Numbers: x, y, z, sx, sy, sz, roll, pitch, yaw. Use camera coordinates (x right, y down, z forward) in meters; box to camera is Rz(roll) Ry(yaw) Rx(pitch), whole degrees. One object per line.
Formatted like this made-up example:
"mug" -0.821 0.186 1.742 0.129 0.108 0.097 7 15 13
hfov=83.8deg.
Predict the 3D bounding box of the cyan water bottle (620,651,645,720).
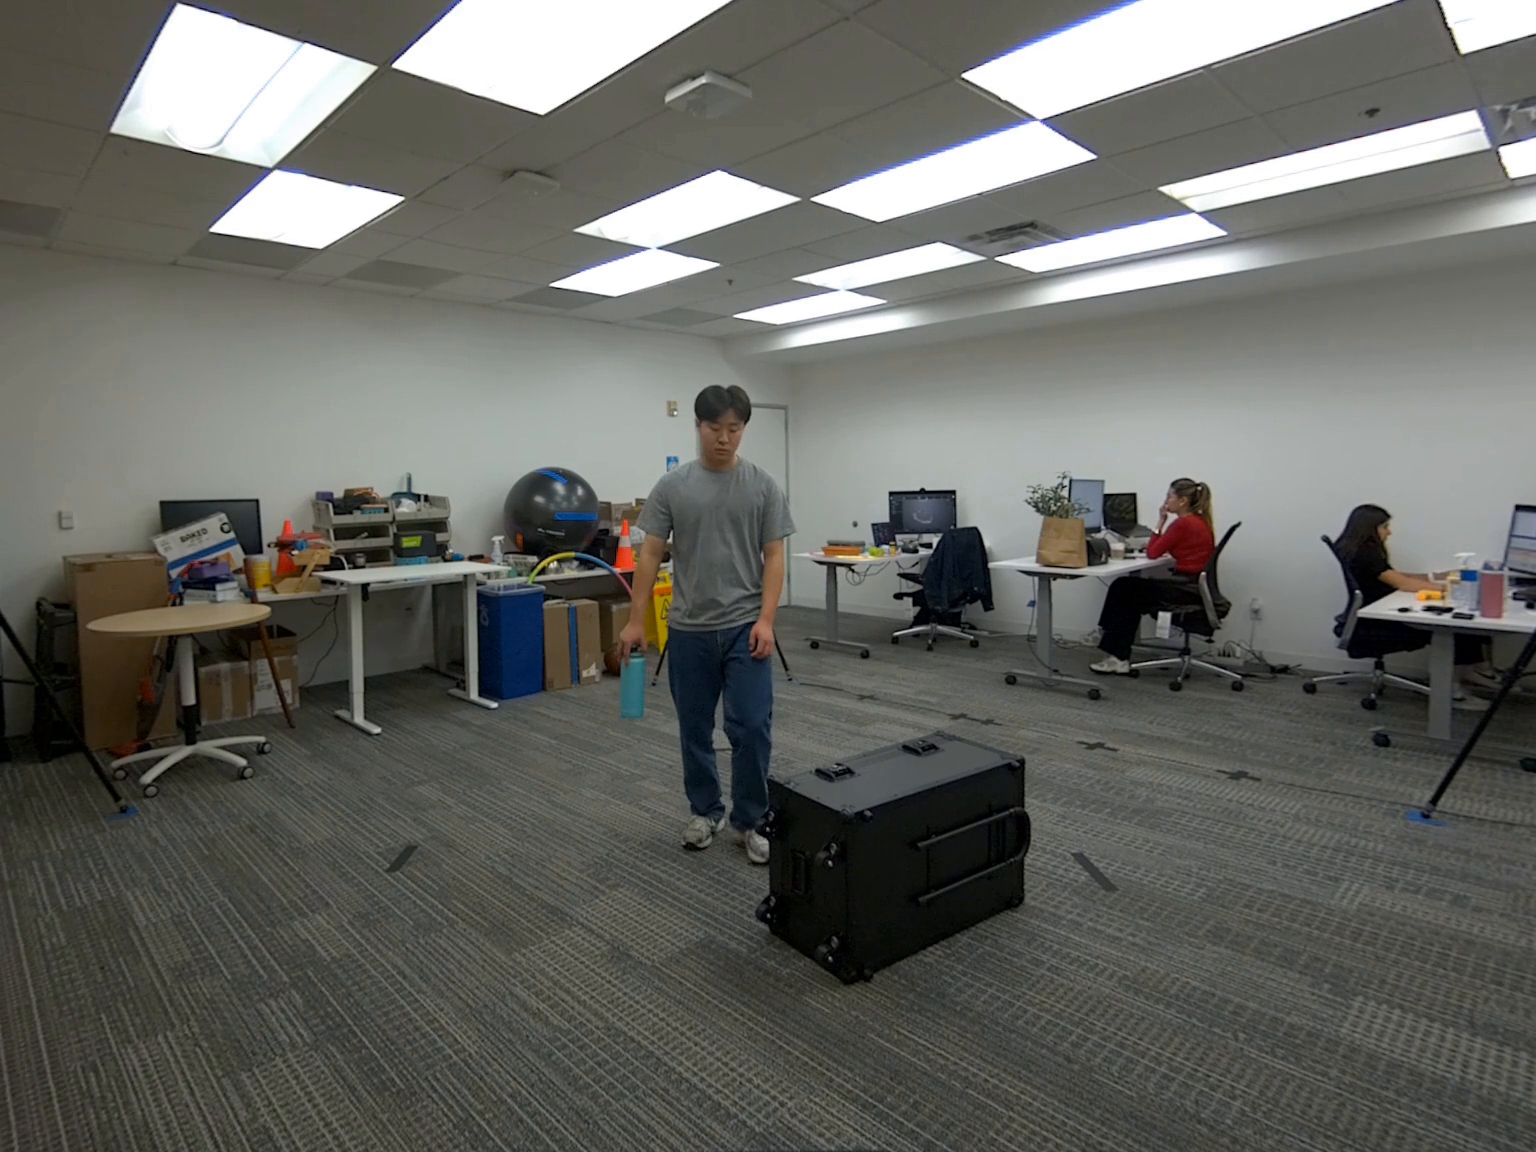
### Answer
"cyan water bottle" -0.477 0.383 3.172 0.092 0.282 0.093 1 4 -2
